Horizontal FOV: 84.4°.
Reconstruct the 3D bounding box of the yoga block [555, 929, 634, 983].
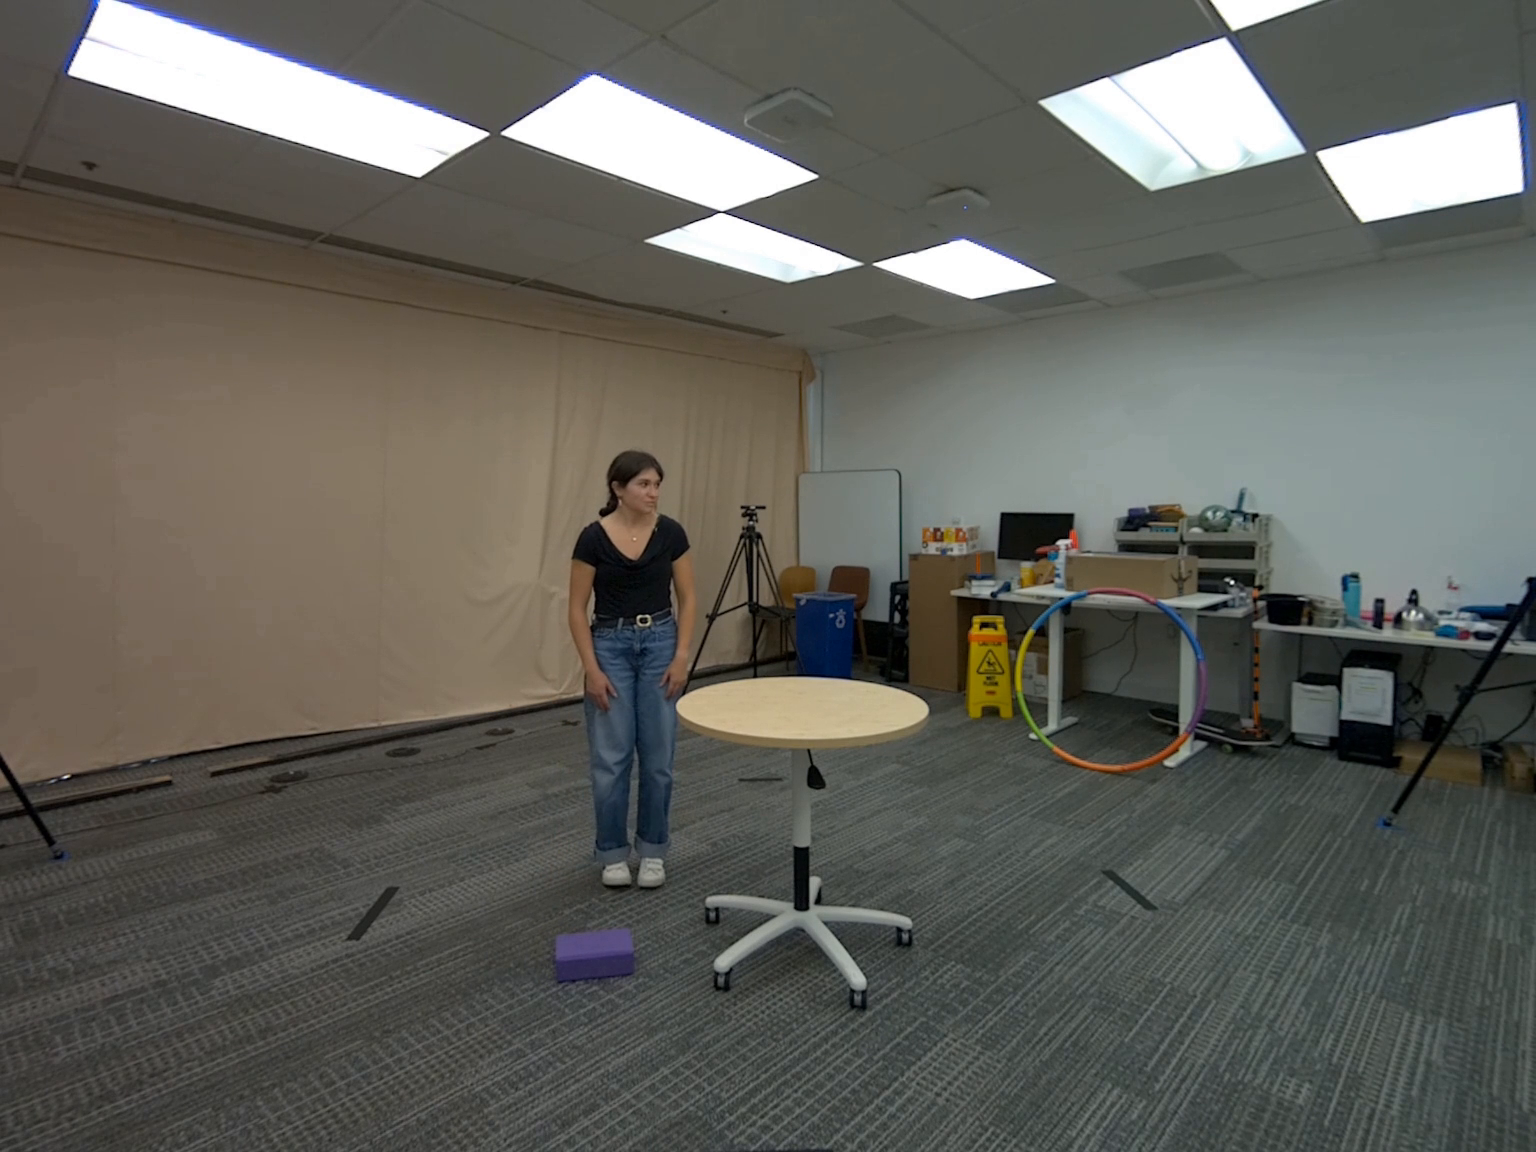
[{"bbox_3d":[-0.527,1.138,2.549,0.227,0.076,0.151,1,4,-11],"label":"yoga block"}]
